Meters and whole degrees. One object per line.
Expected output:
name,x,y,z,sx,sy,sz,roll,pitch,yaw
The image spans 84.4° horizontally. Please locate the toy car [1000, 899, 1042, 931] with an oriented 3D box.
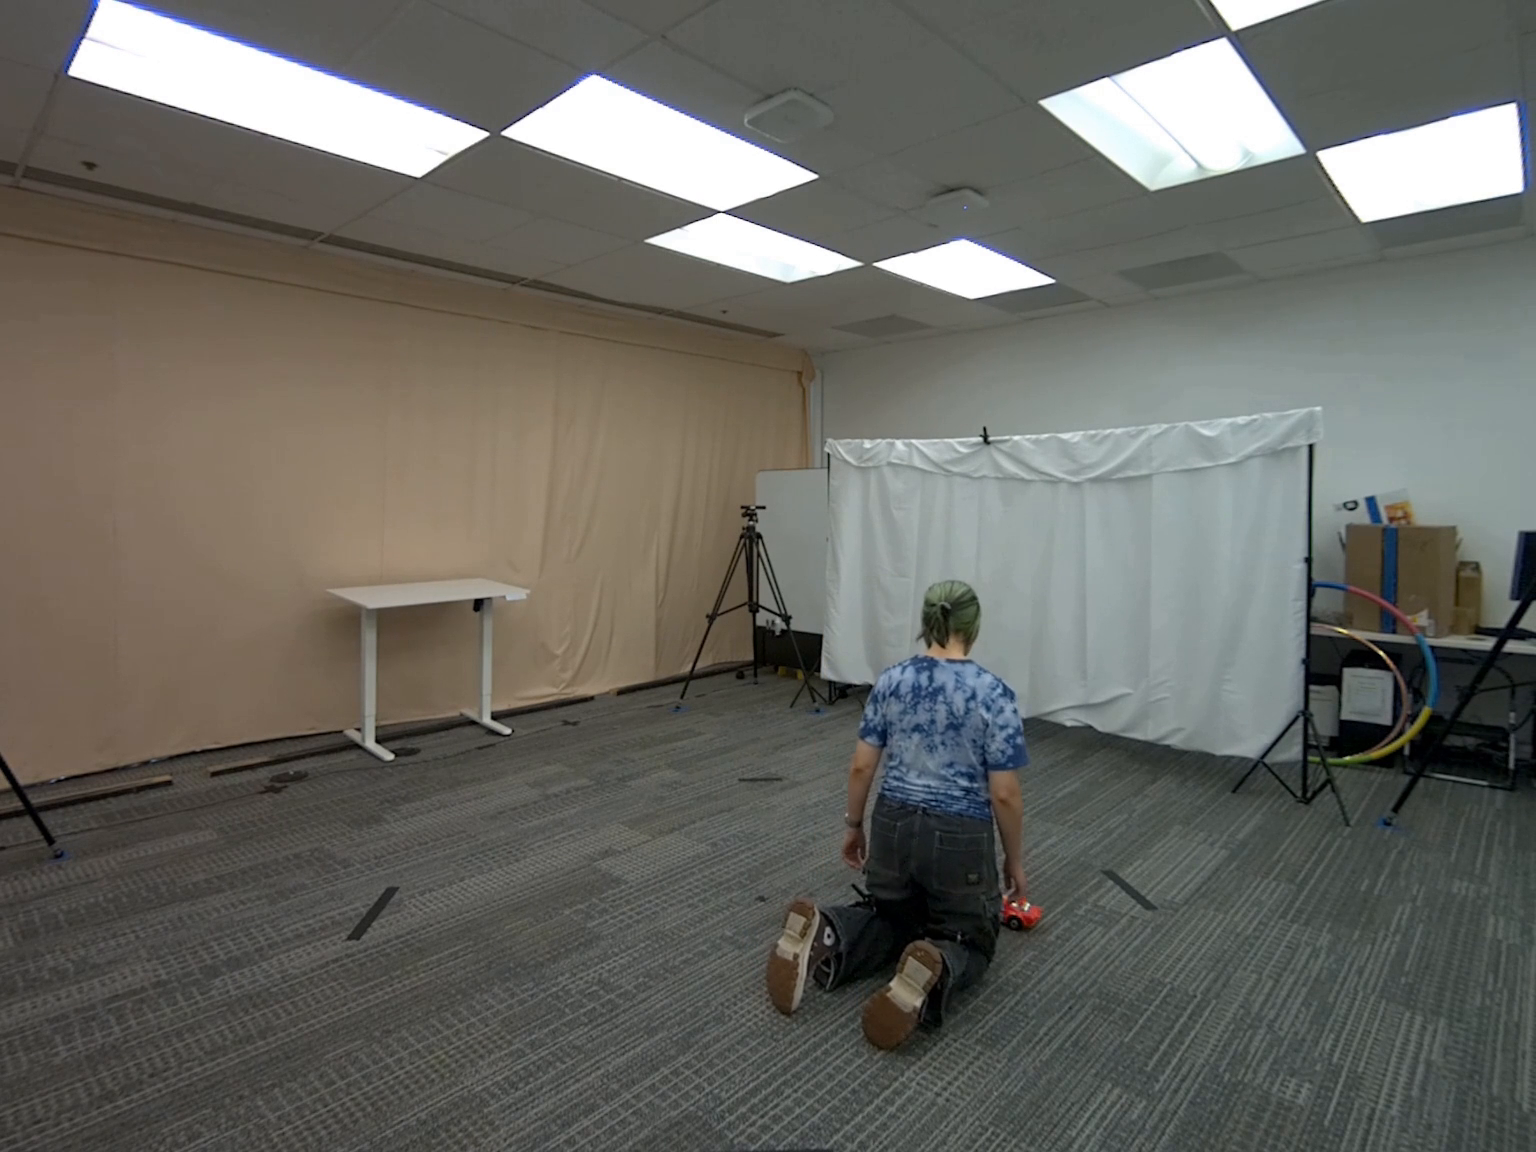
toy car,0.799,1.125,2.824,0.261,0.083,0.127,-9,-1,31
